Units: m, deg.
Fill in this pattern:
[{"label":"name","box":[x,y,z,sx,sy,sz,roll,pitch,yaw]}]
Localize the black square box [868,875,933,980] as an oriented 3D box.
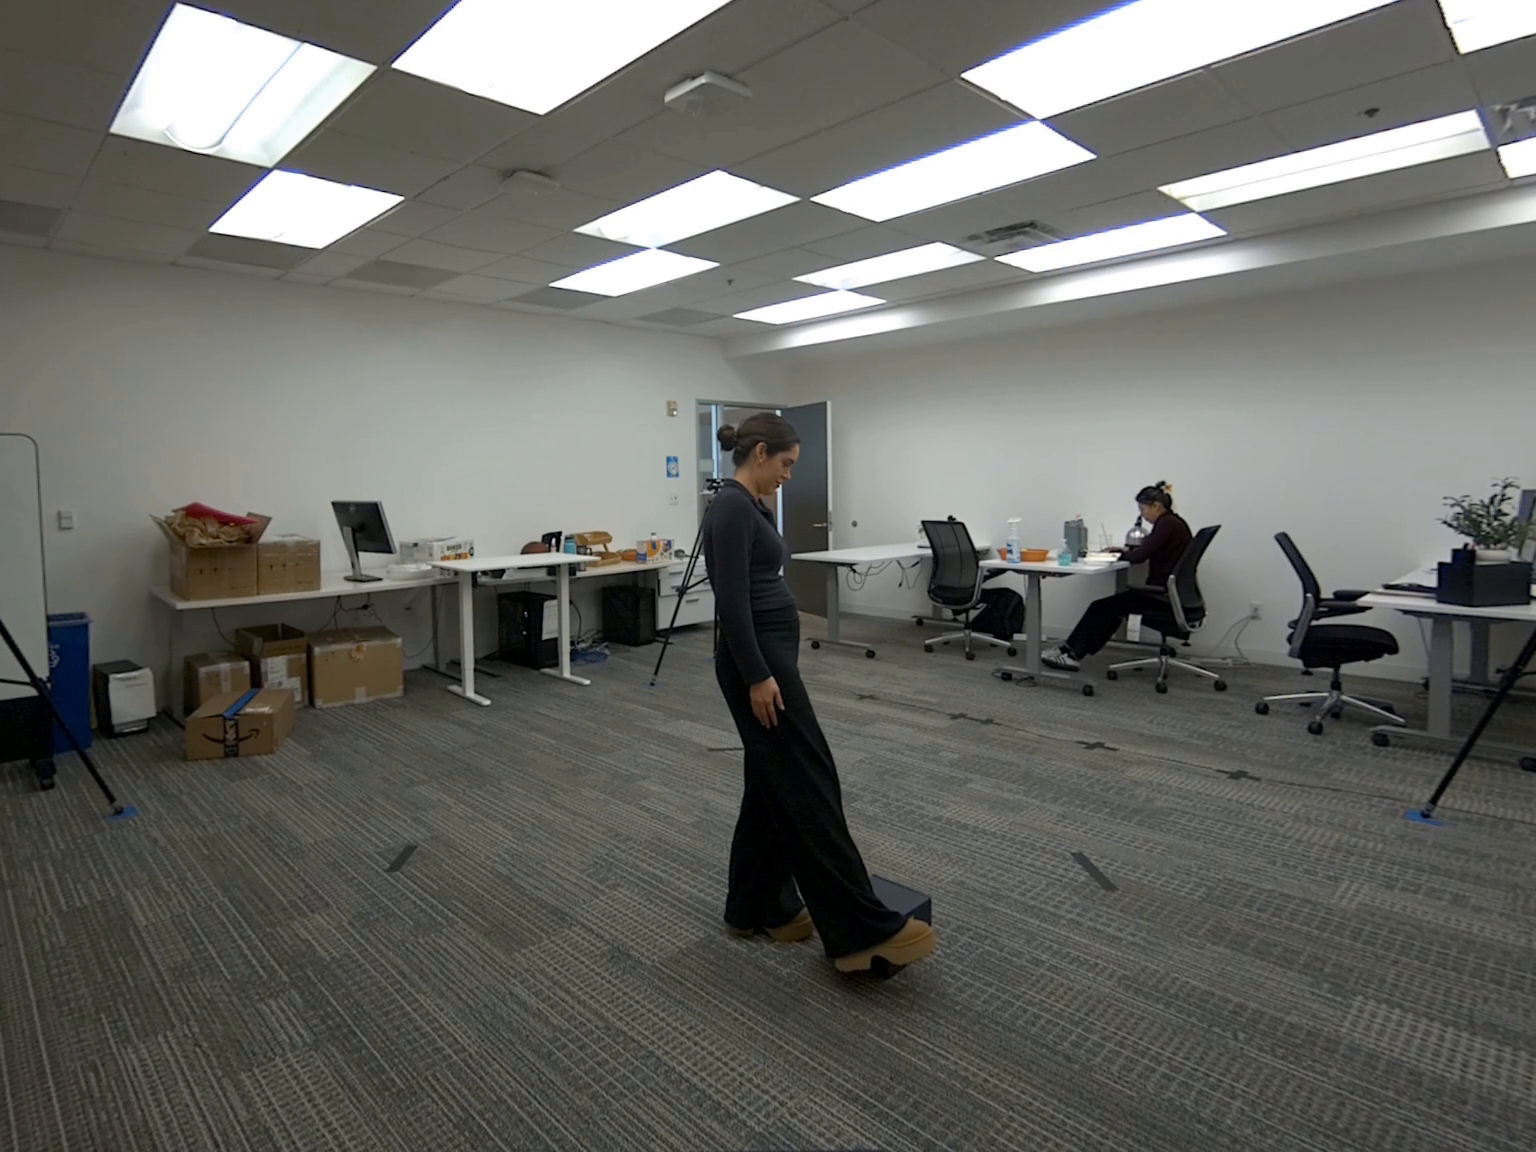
[{"label":"black square box","box":[0.335,1.019,2.520,0.224,0.155,0.222,6,9,43]}]
